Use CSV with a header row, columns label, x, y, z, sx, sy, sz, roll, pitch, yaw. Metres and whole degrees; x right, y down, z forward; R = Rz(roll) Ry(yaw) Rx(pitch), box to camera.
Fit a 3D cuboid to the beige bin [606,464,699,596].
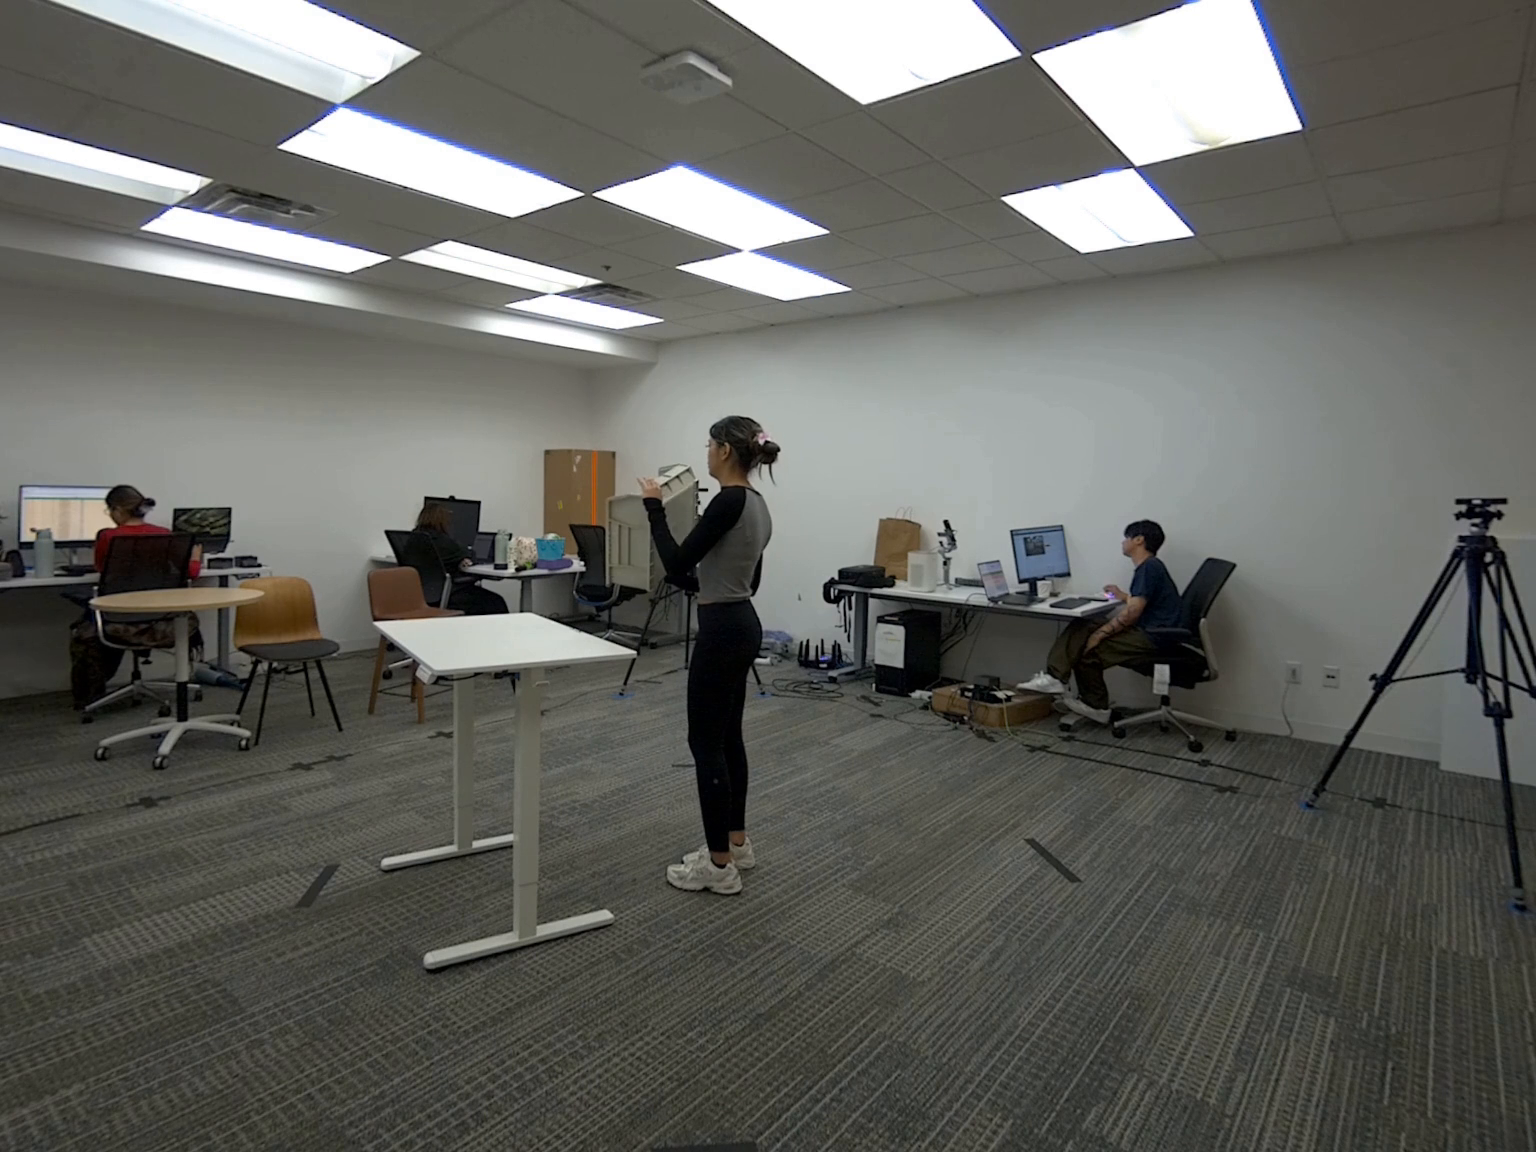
label,x,y,z,sx,sy,sz,roll,pitch,yaw
beige bin,-0.436,-0.196,3.220,0.193,0.370,0.421,10,25,17
